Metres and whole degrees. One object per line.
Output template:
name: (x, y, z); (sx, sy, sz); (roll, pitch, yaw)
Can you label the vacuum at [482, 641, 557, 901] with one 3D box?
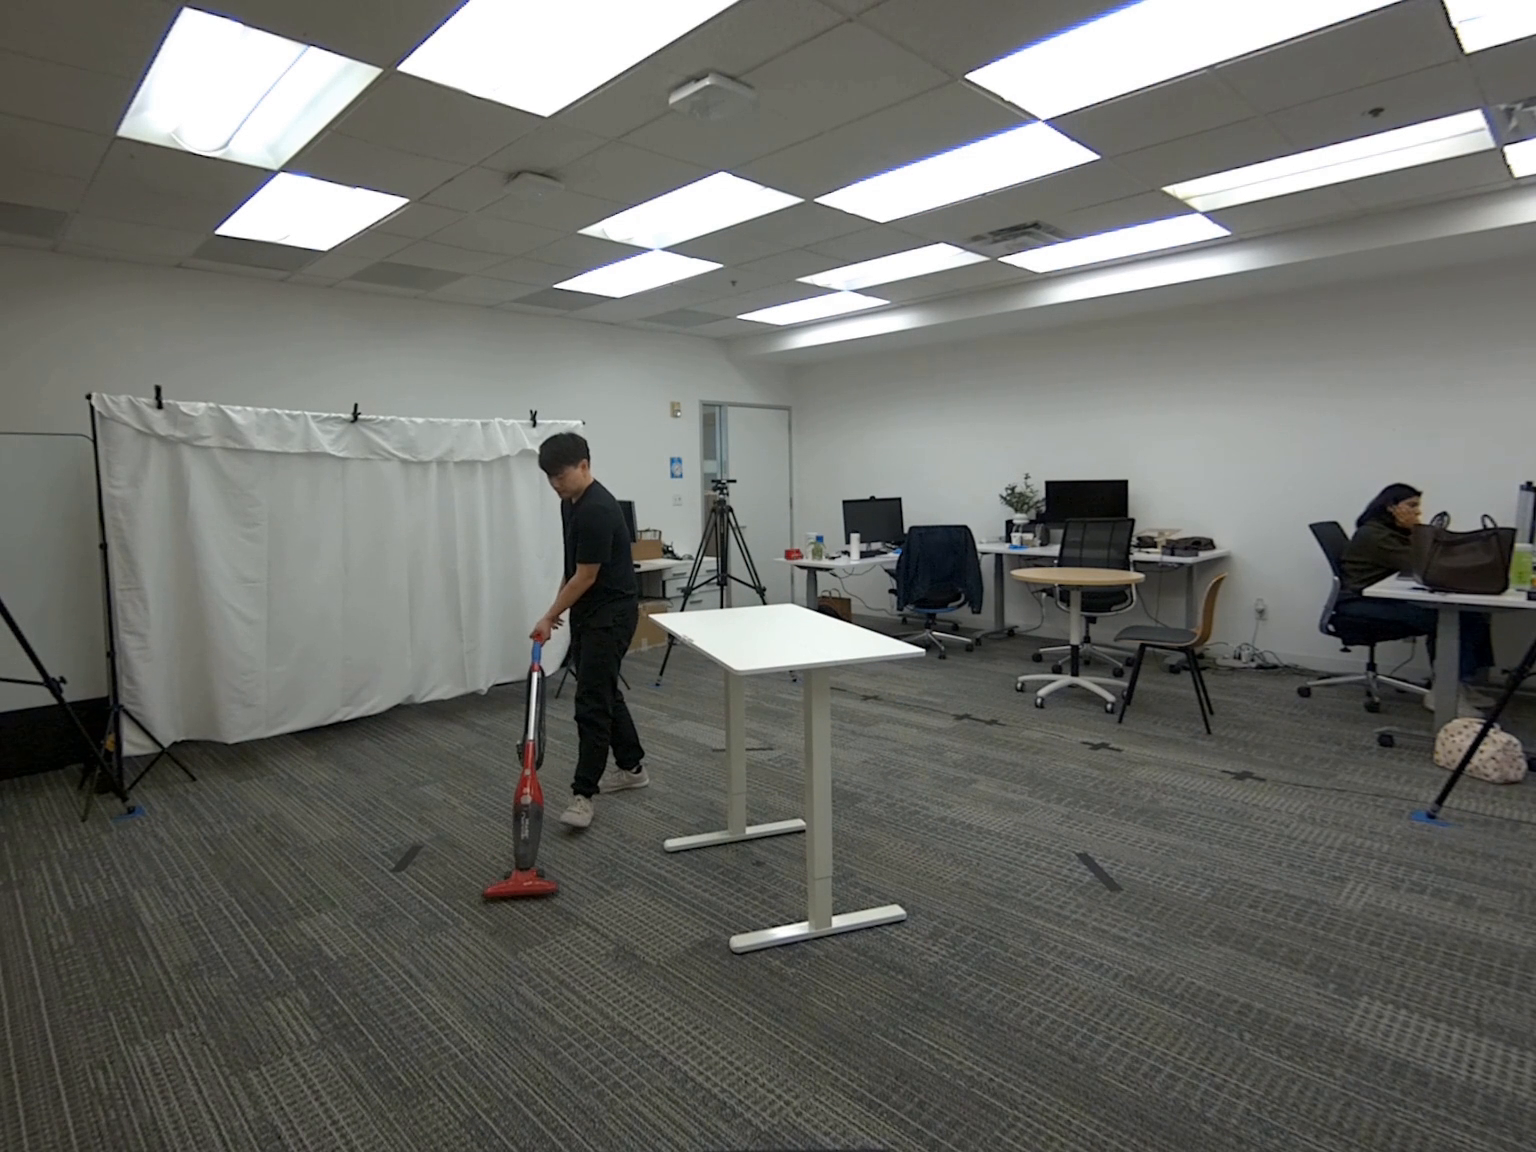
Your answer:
vacuum: (-0.901, 0.660, 3.257); (0.251, 1.081, 0.140); (-5, -39, -6)
